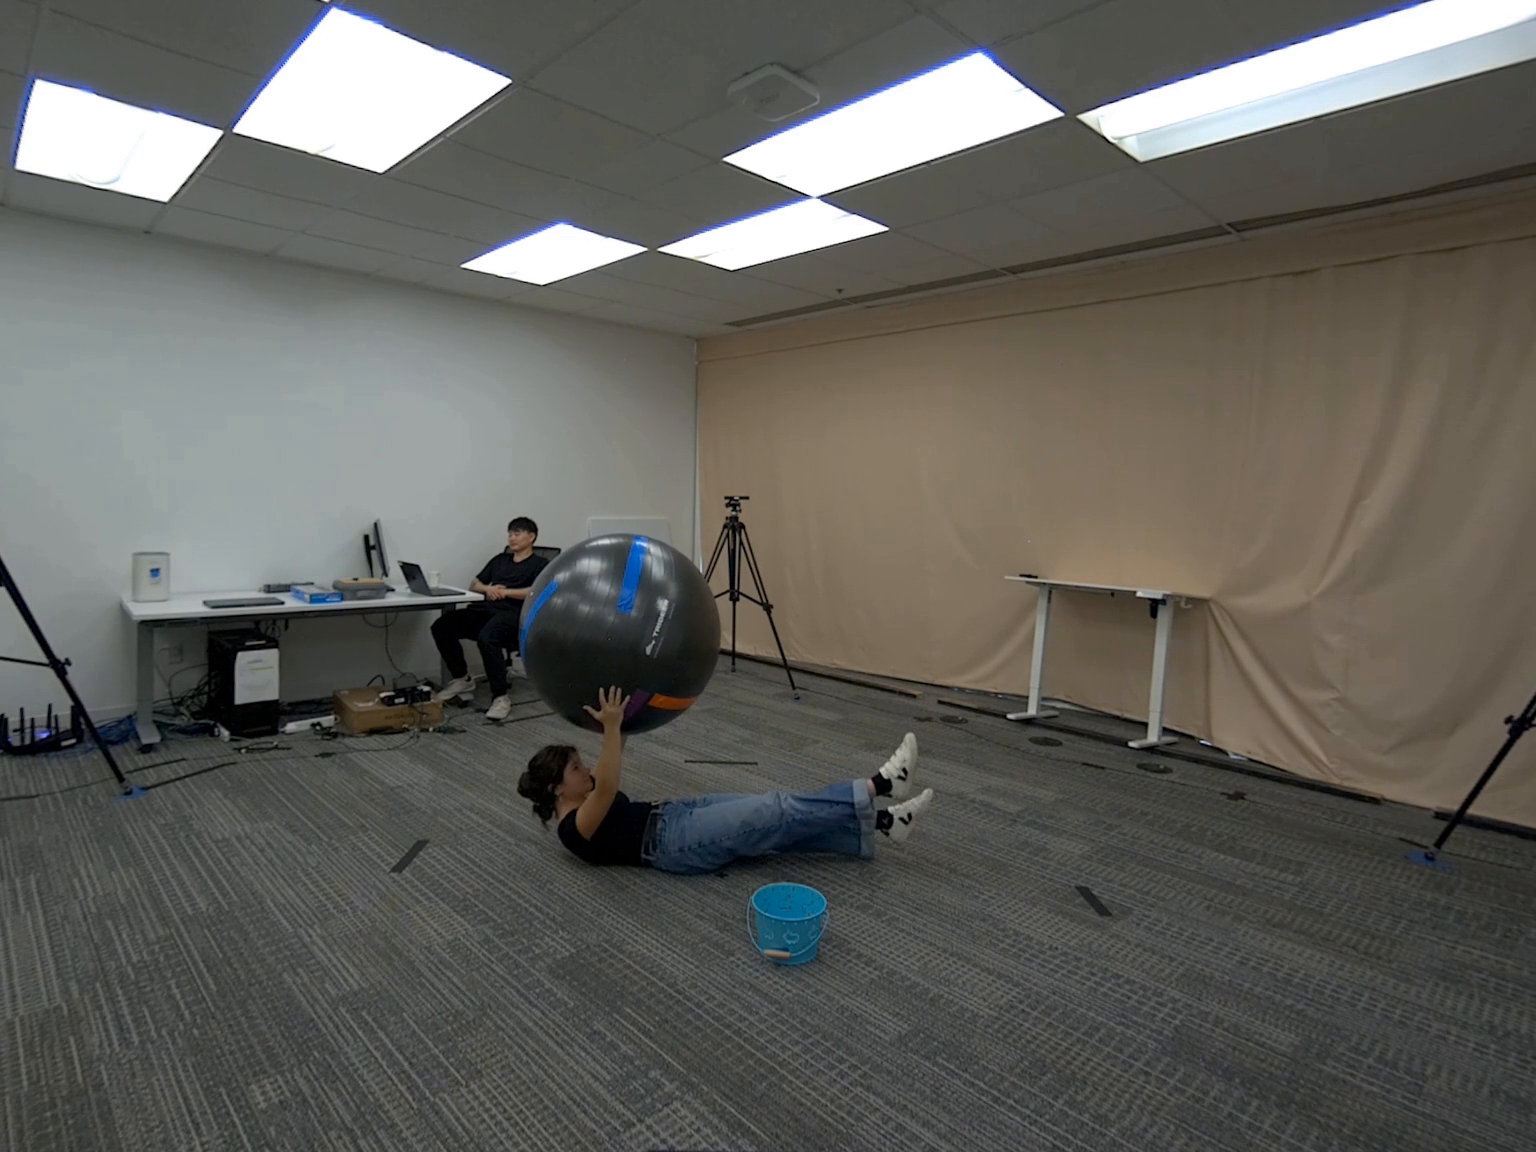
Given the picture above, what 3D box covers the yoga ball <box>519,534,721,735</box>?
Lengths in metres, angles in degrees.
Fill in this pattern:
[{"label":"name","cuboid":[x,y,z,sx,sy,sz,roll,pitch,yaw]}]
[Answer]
[{"label":"yoga ball","cuboid":[-0.557,0.219,3.187,0.757,0.756,0.761,1,4,-1]}]
